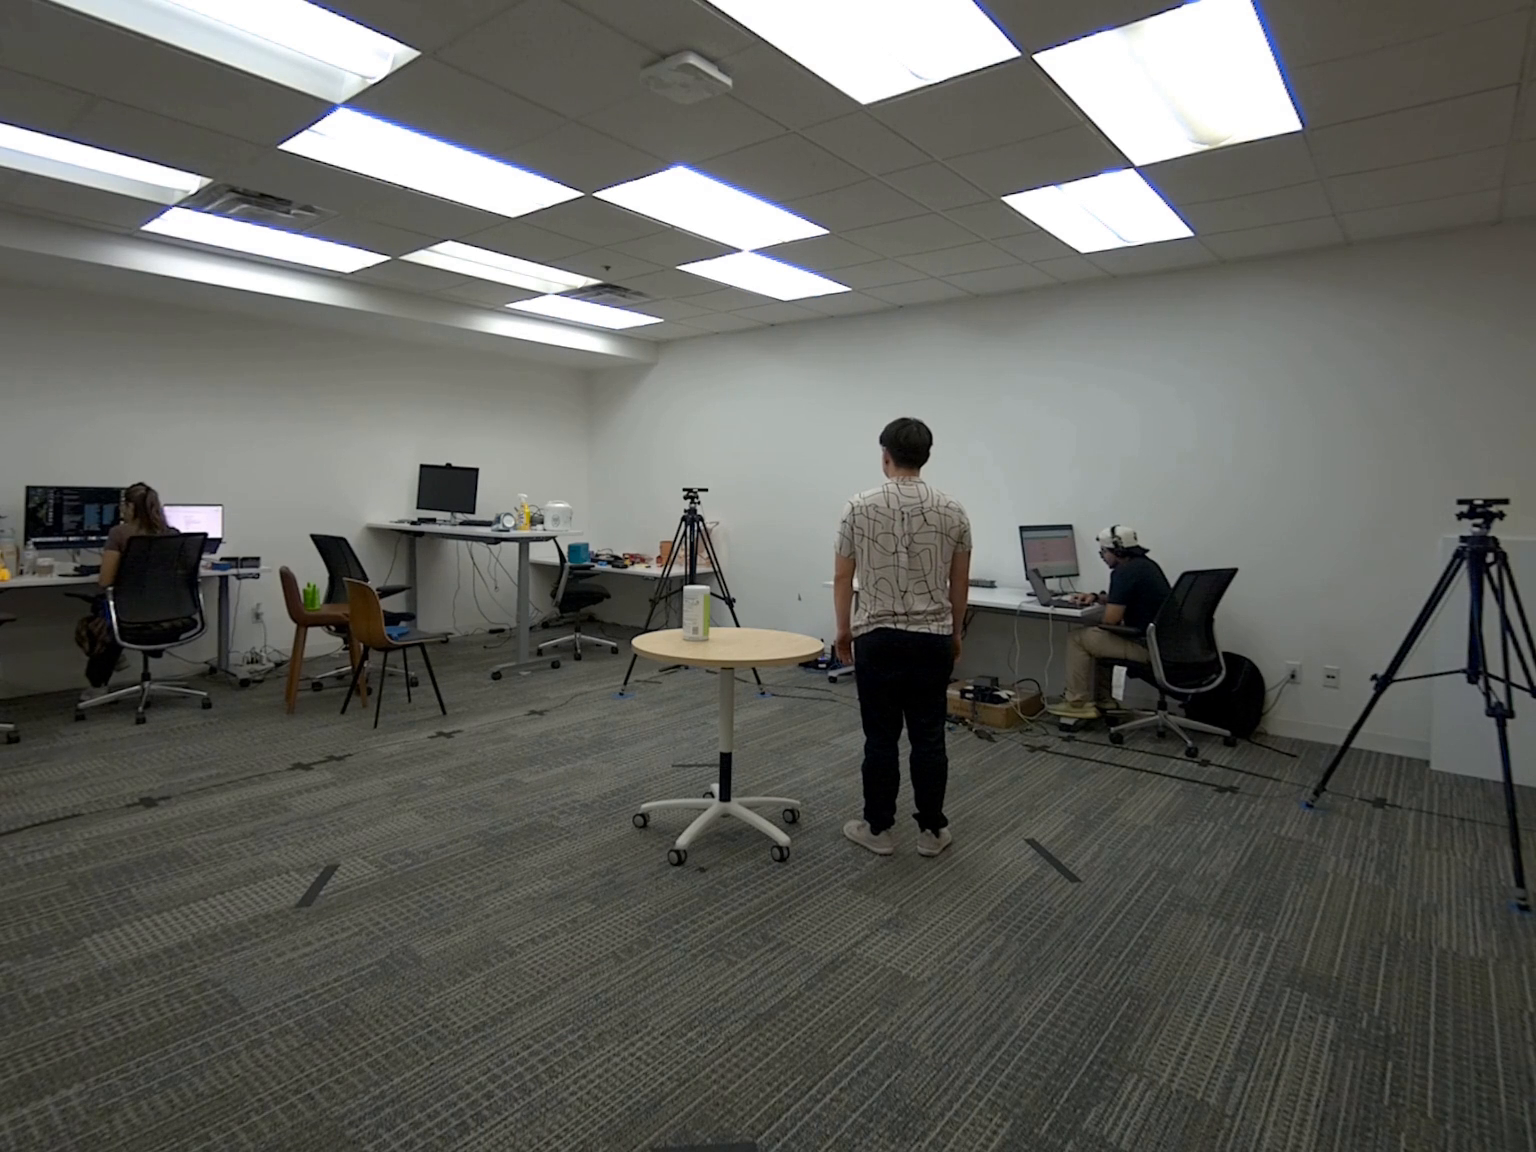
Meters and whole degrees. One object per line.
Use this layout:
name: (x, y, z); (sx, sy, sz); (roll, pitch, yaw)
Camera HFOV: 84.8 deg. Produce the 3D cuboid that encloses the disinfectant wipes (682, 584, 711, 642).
disinfectant wipes: (-0.299, 0.148, 3.459); (0.118, 0.217, 0.118); (0, 3, -2)
